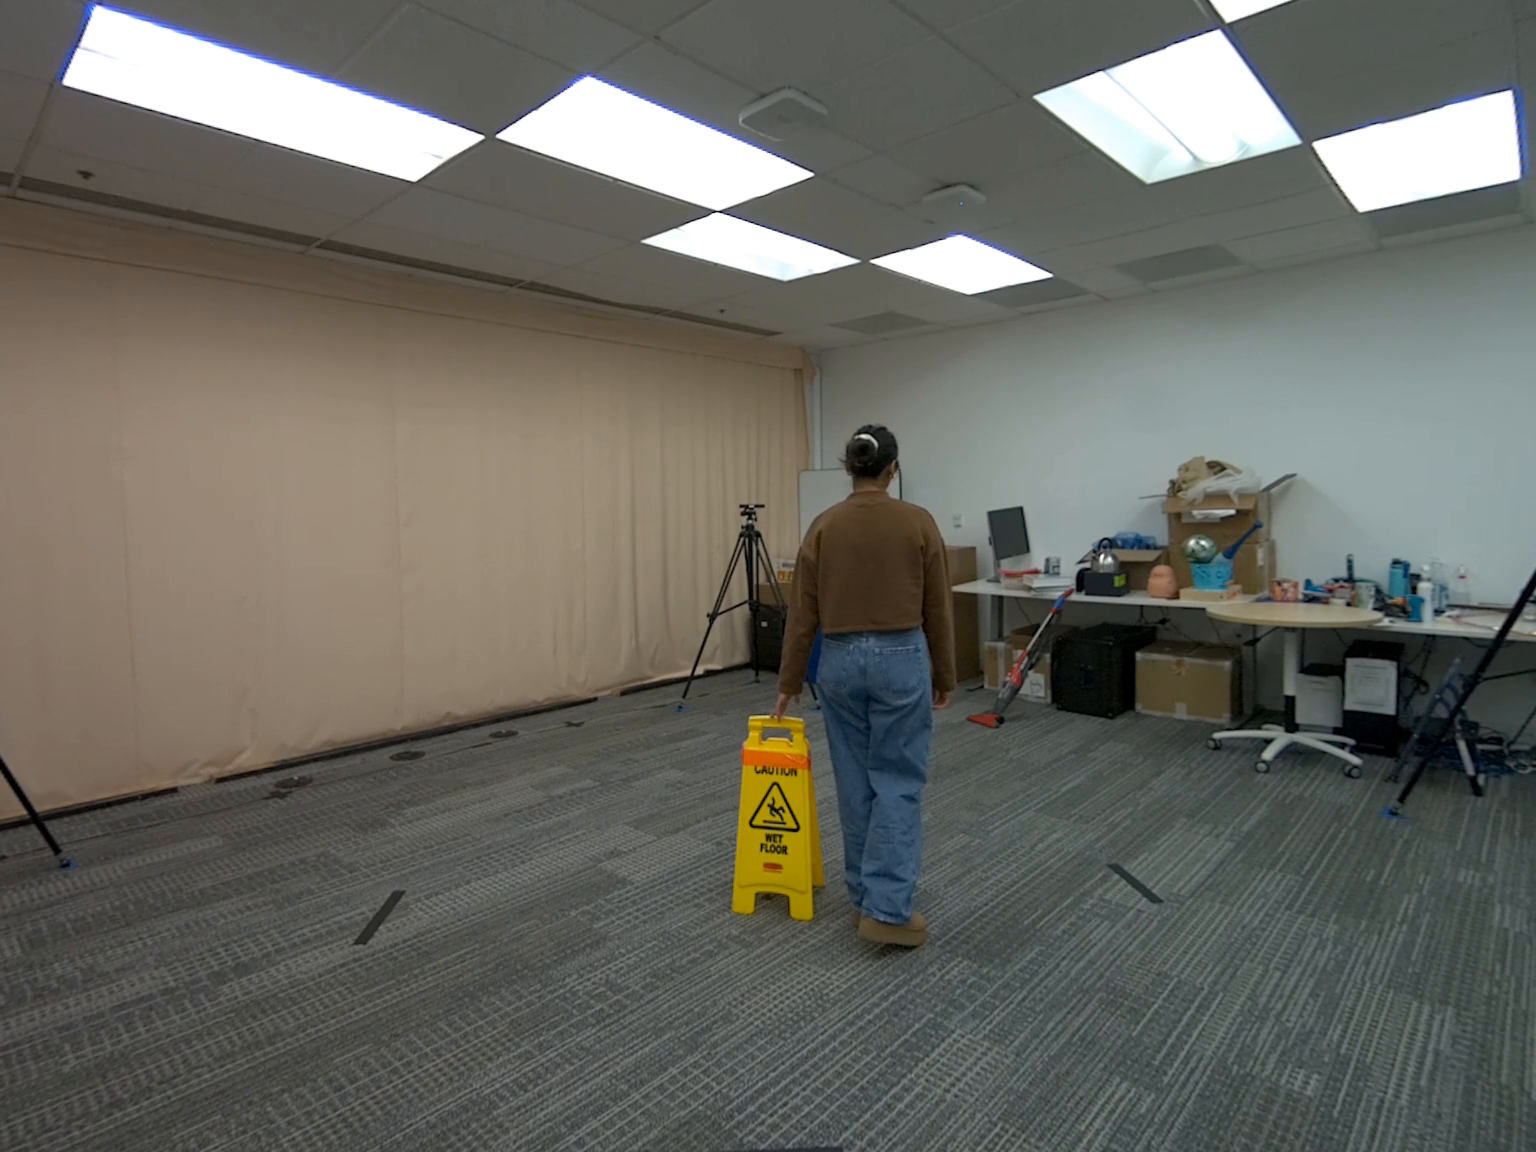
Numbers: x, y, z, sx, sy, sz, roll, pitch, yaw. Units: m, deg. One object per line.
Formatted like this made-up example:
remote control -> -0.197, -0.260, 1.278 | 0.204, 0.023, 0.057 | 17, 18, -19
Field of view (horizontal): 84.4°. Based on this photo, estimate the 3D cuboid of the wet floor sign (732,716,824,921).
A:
wet floor sign -> 0.037, 0.818, 2.966 | 0.287, 0.645, 0.286 | 1, 3, 14
